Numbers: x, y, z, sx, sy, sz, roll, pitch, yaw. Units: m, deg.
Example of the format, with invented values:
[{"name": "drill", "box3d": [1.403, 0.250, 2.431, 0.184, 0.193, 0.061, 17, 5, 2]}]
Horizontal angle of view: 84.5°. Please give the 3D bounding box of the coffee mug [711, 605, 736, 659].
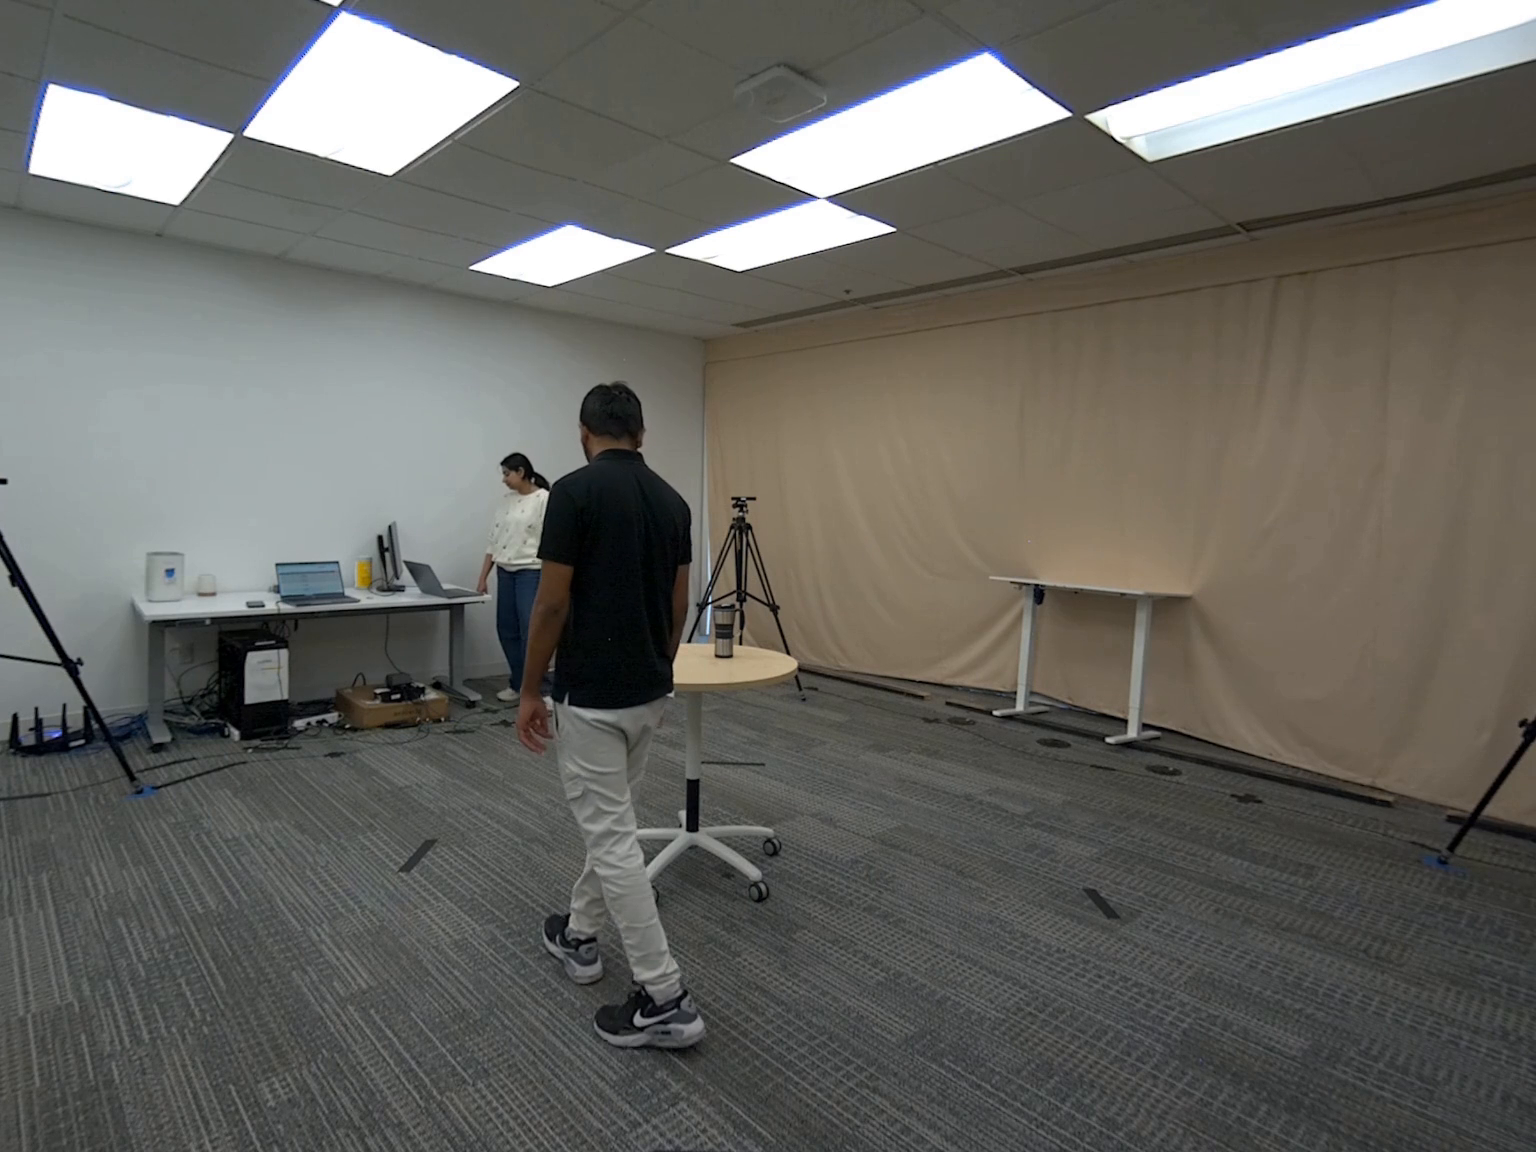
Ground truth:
[{"name": "coffee mug", "box3d": [-0.186, 0.217, 3.222, 0.119, 0.202, 0.090, 2, 4, -32]}]
